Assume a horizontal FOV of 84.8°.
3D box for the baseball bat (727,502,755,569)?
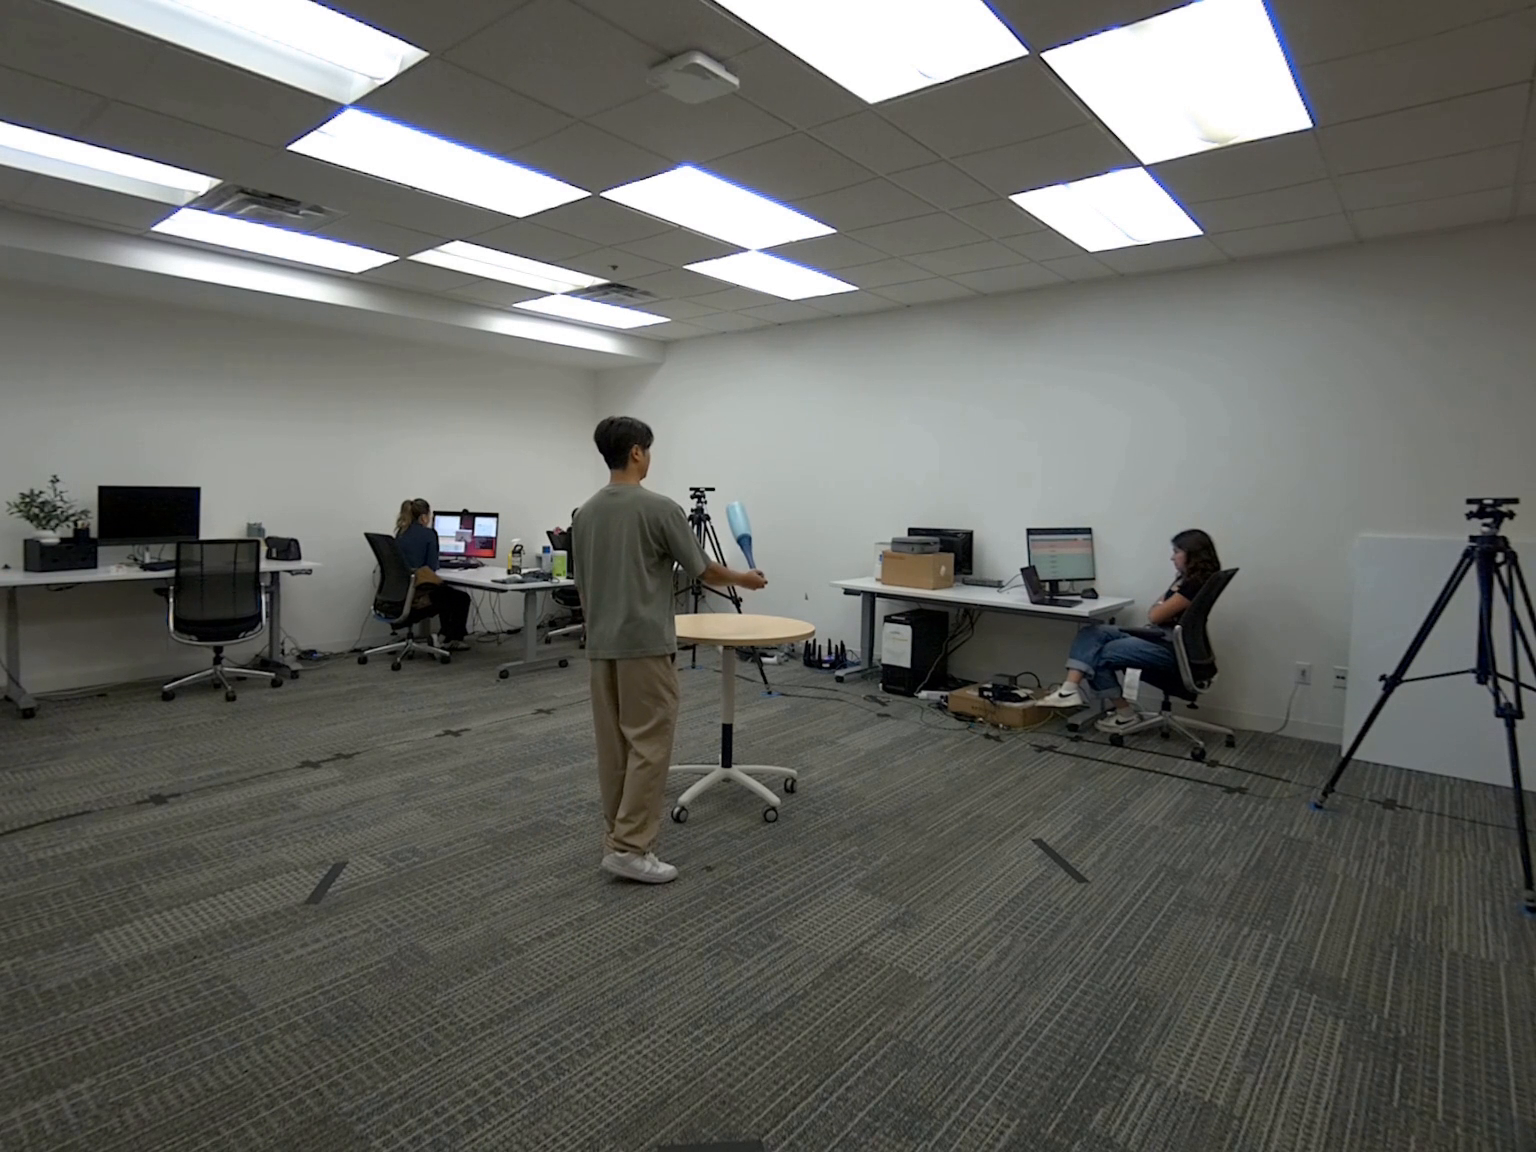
[{"bbox_3d":[-0.108,-0.138,3.675,0.088,0.087,0.562,-1,38,-13],"label":"baseball bat"}]
